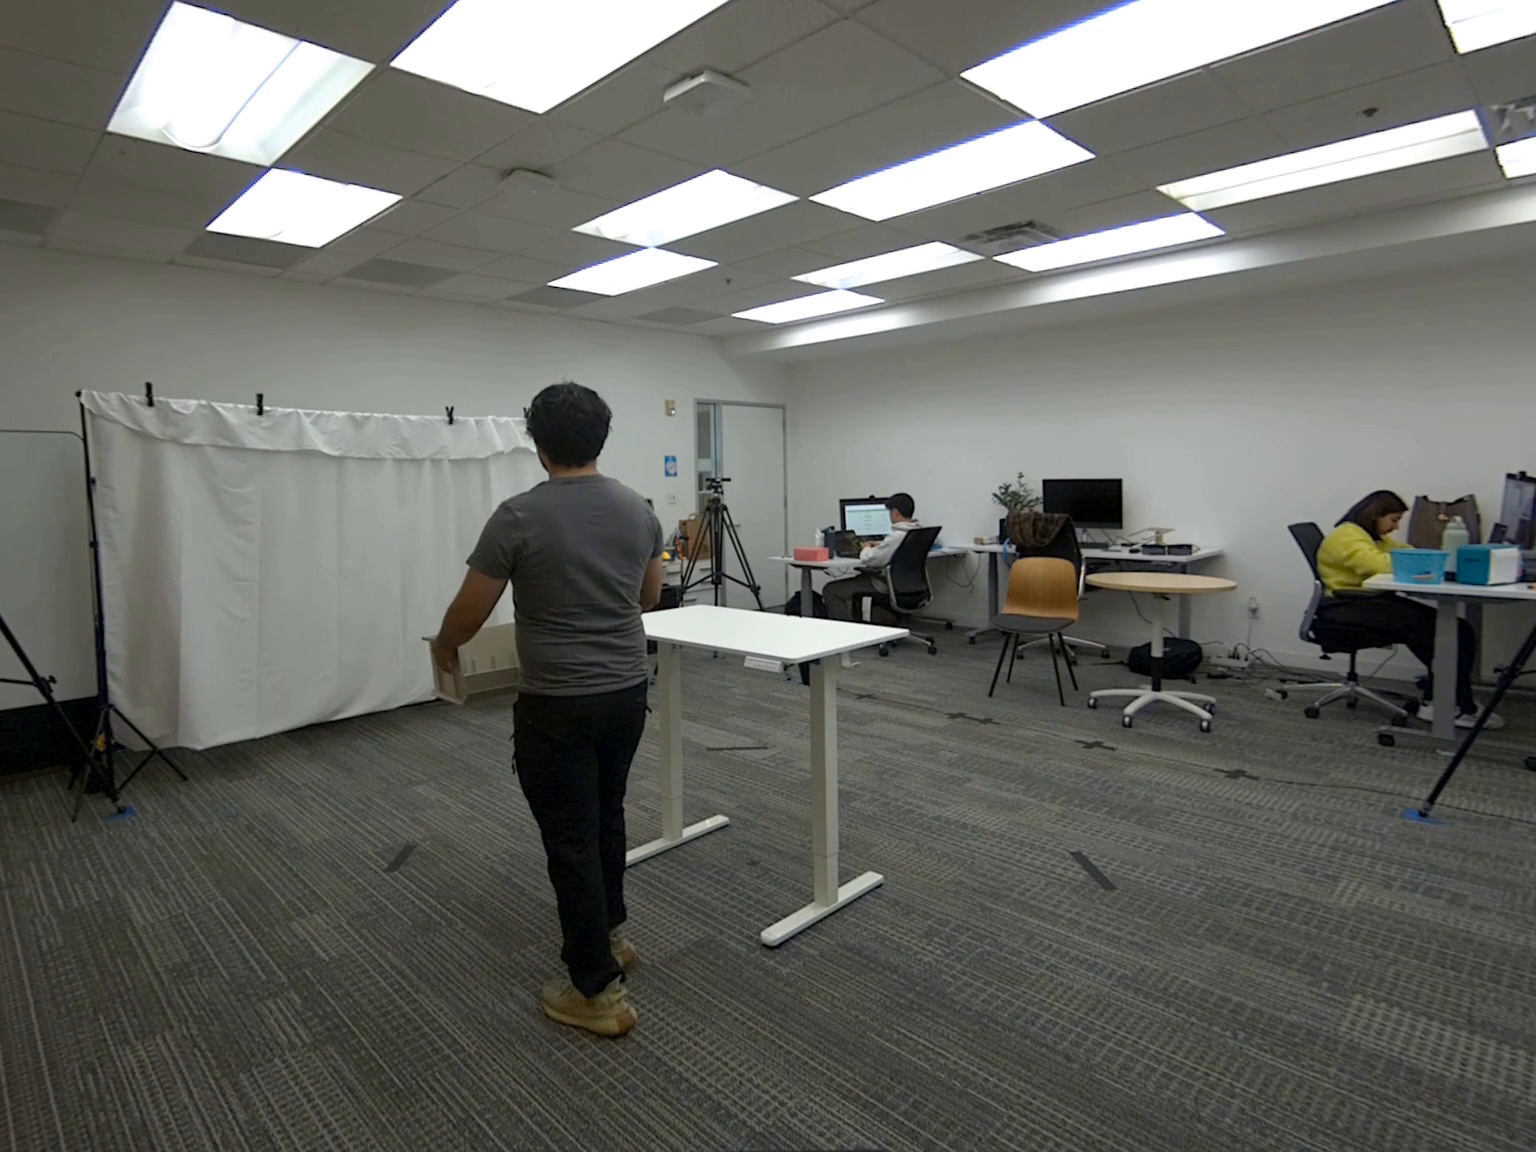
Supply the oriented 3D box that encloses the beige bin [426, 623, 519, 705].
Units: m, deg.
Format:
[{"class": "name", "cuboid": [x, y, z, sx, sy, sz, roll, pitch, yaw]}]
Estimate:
[{"class": "beige bin", "cuboid": [-0.769, 0.245, 2.571, 0.412, 0.189, 0.387, -9, 3, -36]}]
